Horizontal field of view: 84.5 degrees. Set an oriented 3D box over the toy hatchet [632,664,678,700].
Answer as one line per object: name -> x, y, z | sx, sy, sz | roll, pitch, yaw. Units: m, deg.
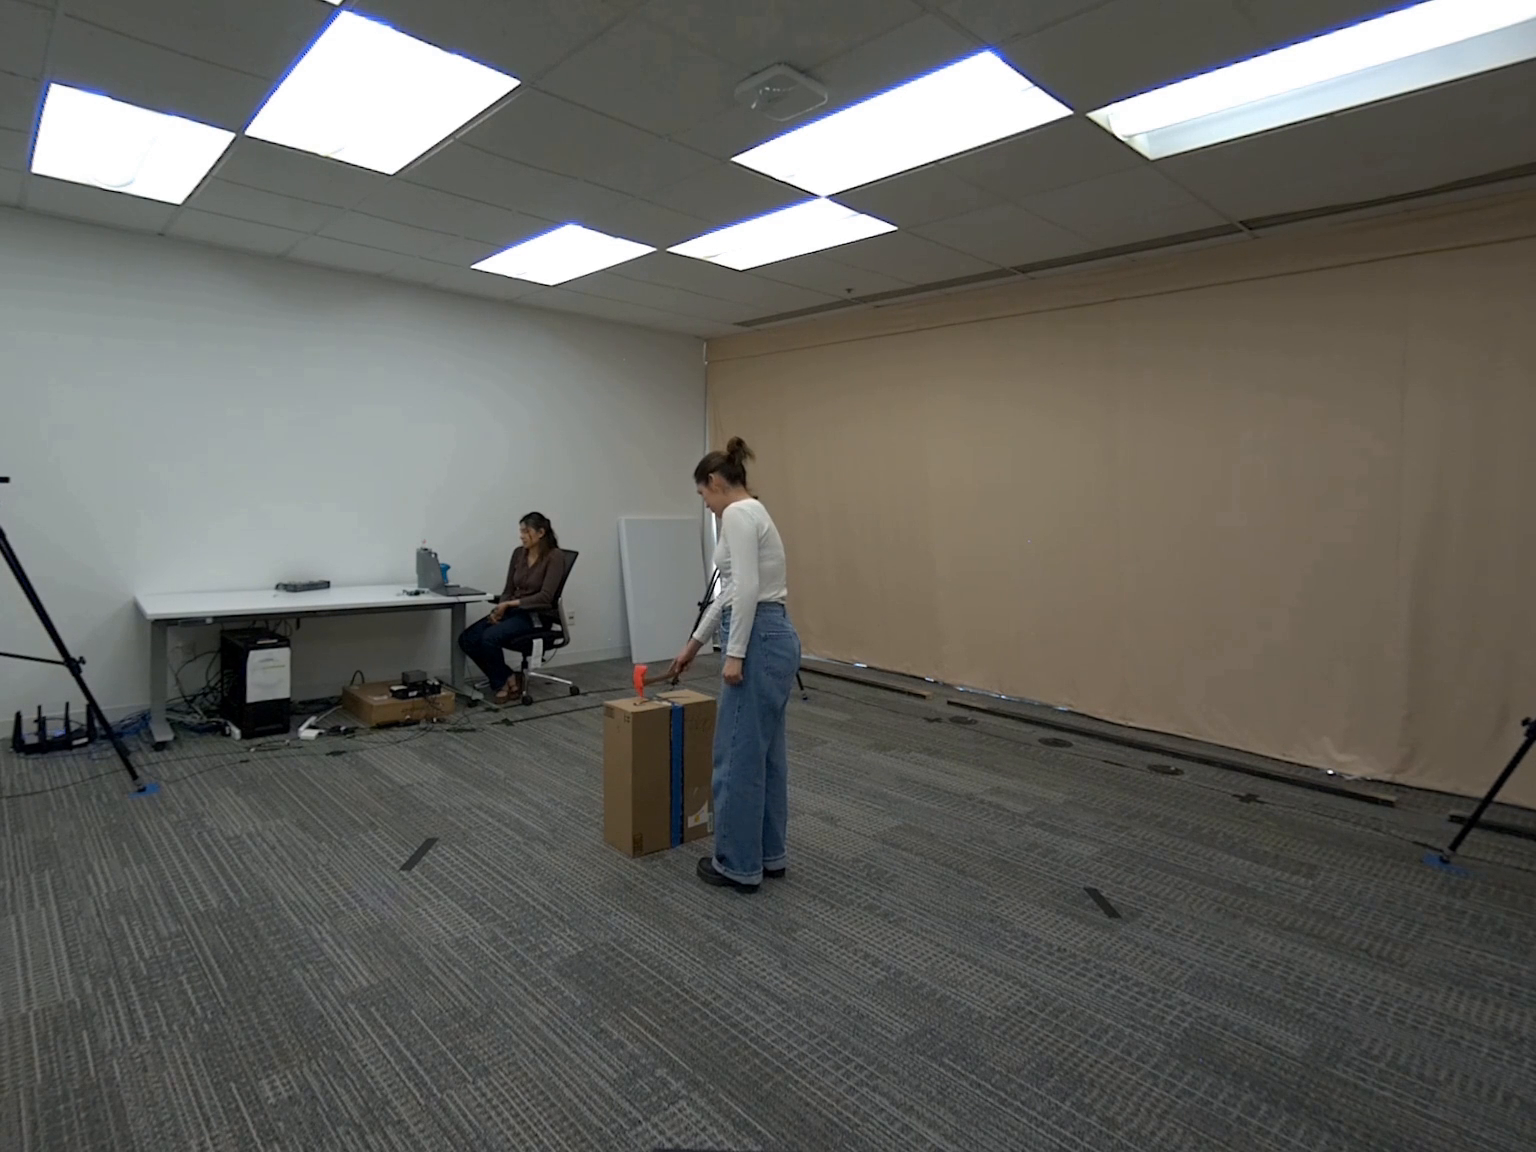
toy hatchet -> -0.442, 0.374, 3.394 | 0.271, 0.133, 0.029 | -36, -20, 26
